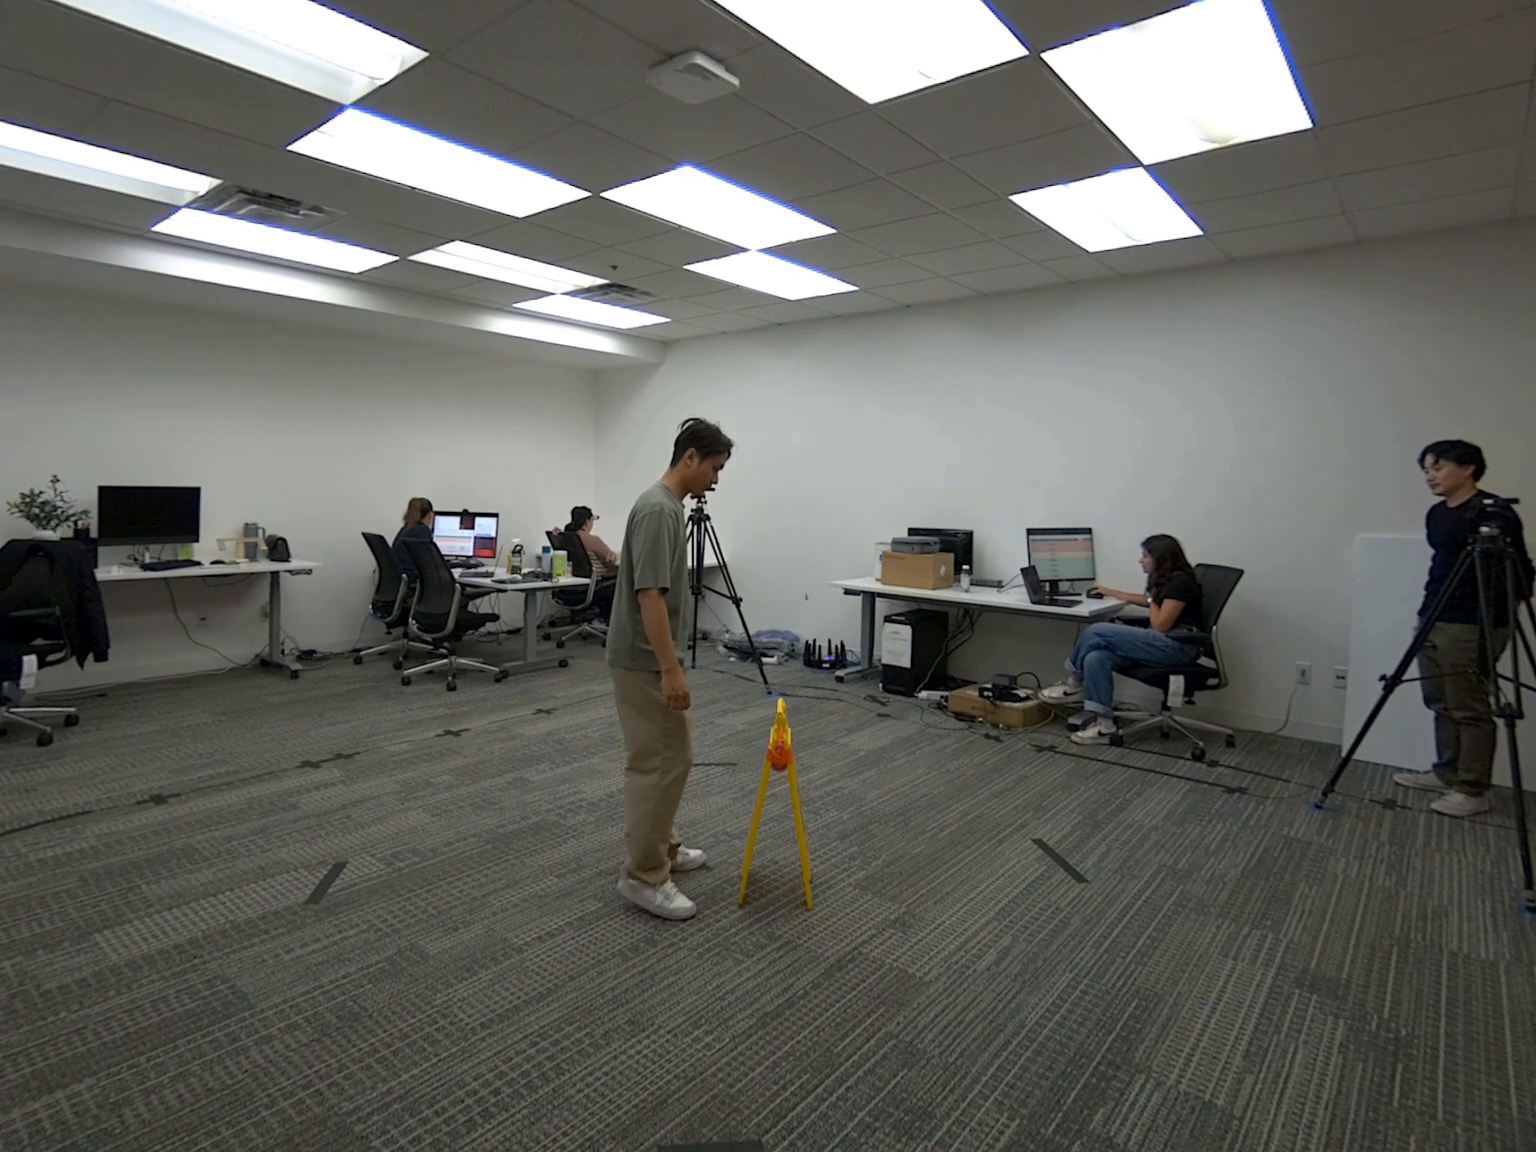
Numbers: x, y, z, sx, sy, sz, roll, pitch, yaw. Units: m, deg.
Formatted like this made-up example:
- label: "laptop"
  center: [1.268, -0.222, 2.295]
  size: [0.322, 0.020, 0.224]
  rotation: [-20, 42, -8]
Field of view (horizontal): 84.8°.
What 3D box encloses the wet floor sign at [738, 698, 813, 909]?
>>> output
- label: "wet floor sign"
  center: [0.031, 0.766, 2.949]
  size: [0.291, 0.644, 0.282]
  rotation: [3, 3, 2]
